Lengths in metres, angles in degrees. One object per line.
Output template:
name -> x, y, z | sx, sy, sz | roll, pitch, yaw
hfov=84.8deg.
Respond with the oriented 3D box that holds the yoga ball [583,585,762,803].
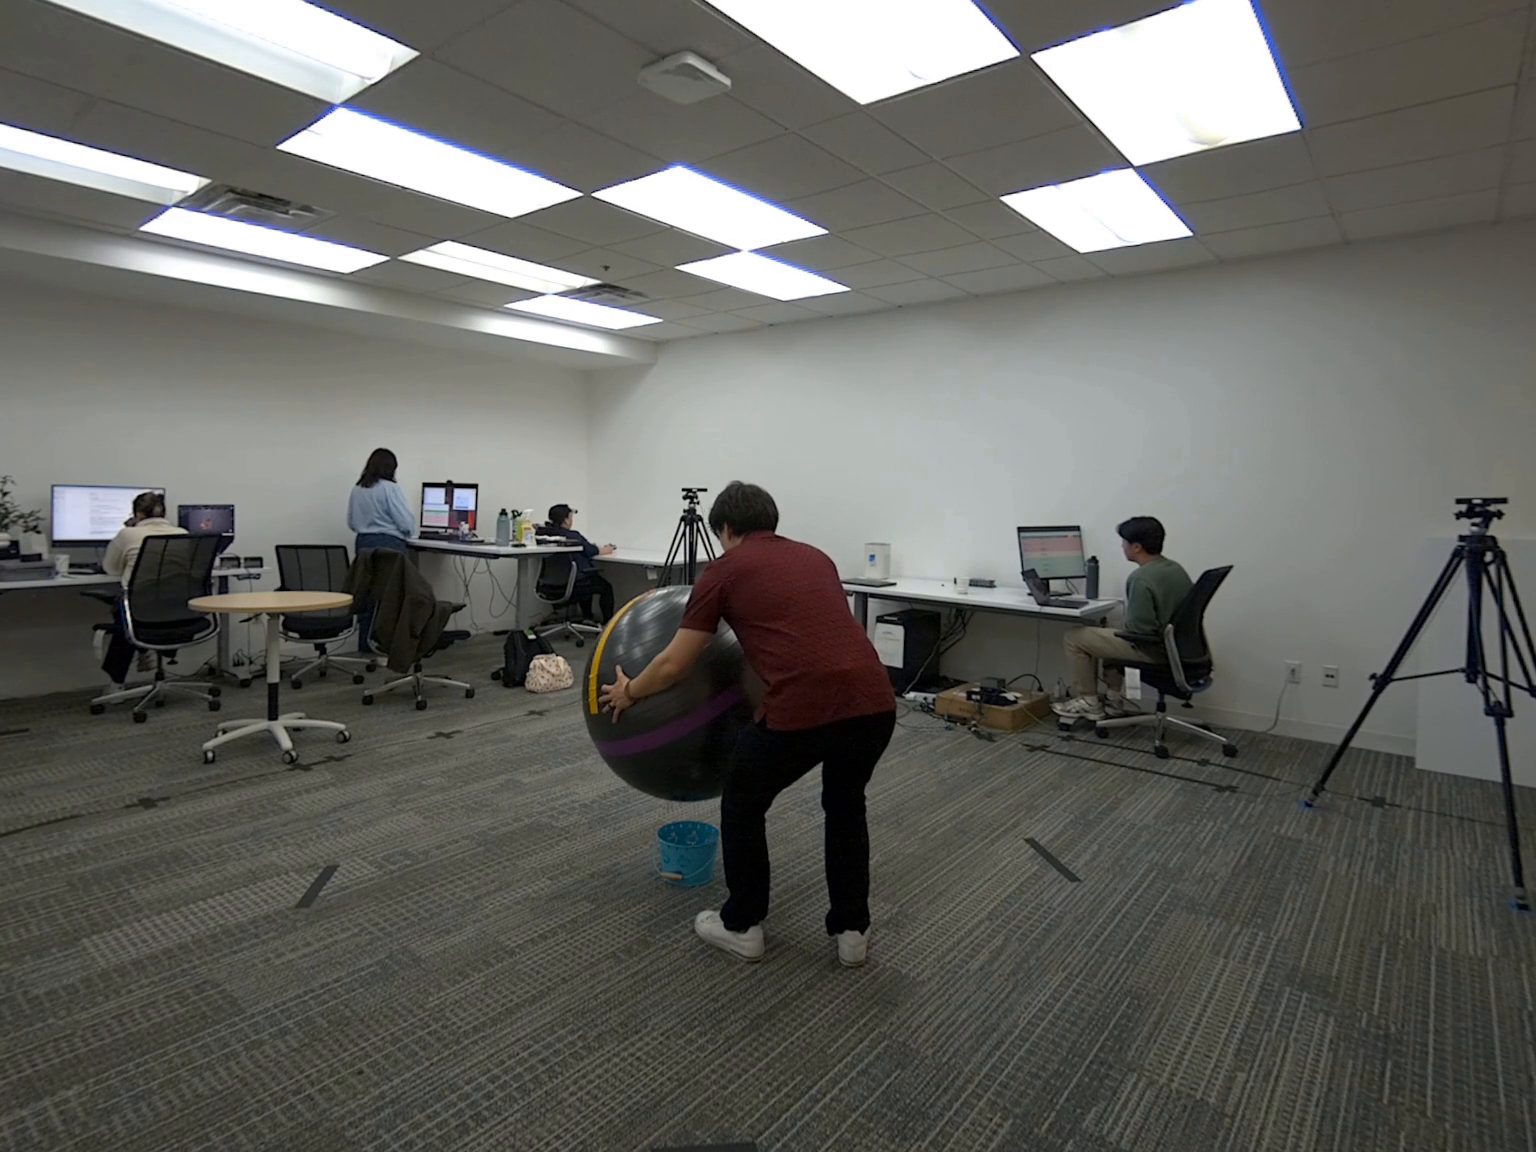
yoga ball -> -0.298, 0.417, 3.056 | 0.757, 0.756, 0.761 | 1, 4, -2
